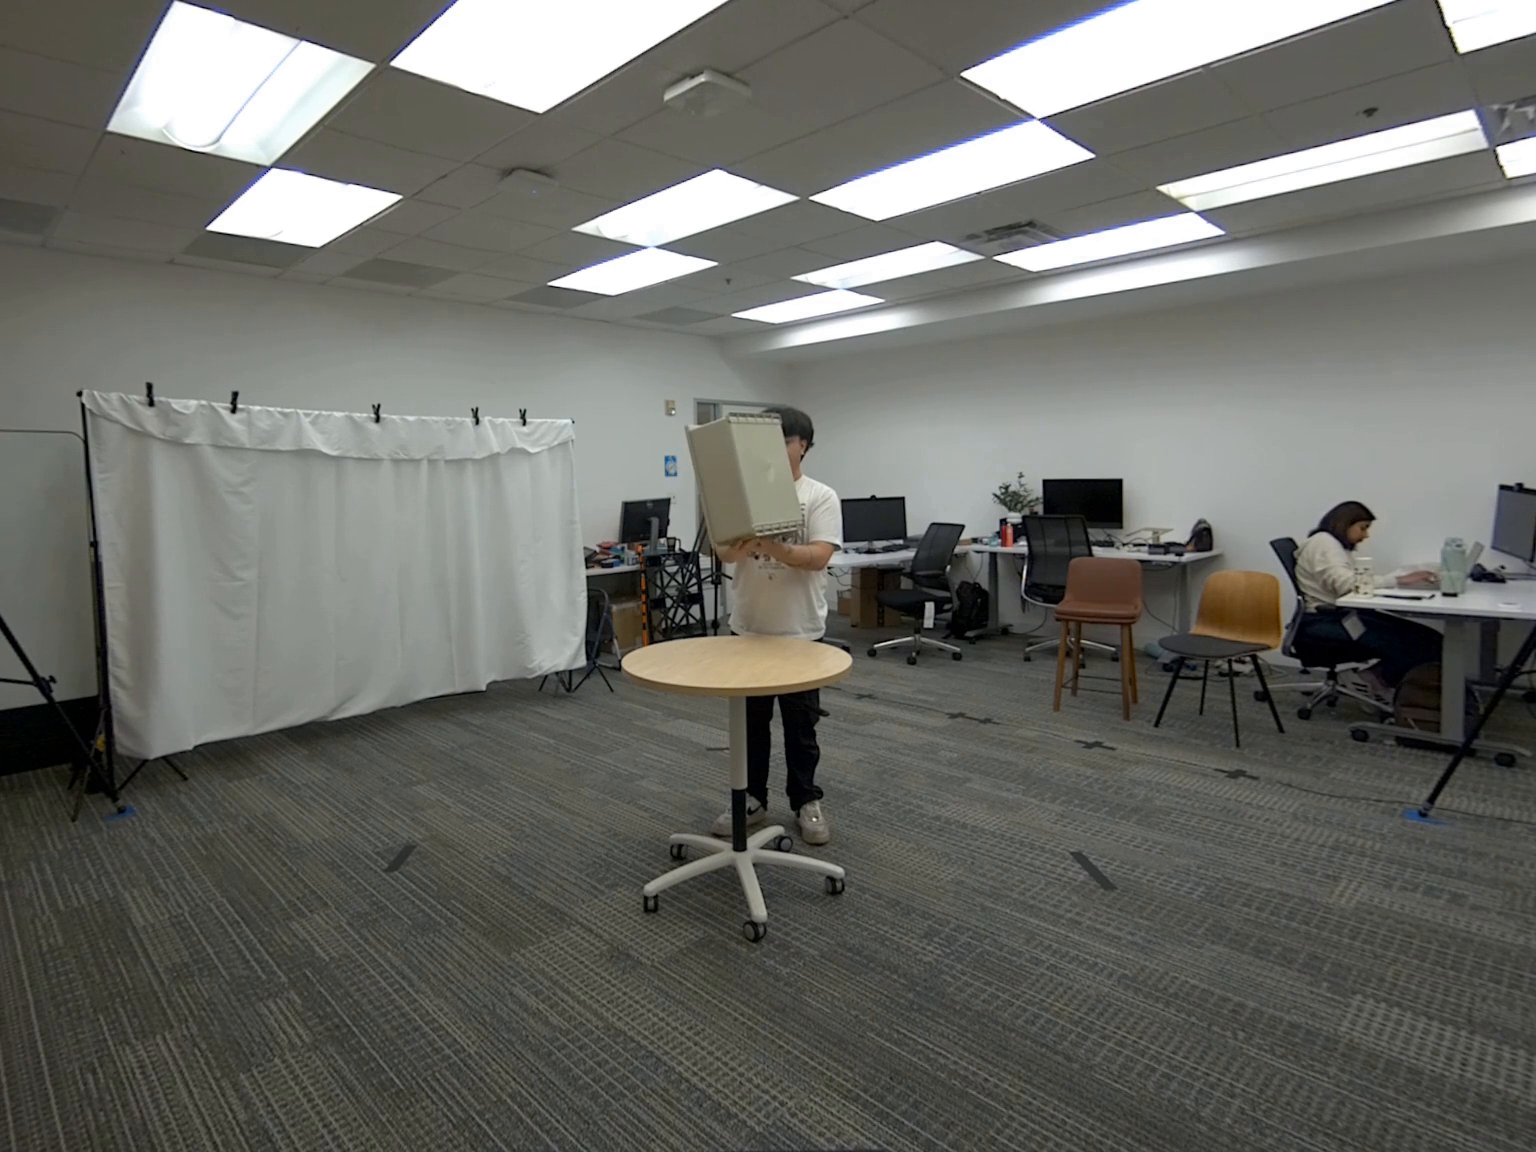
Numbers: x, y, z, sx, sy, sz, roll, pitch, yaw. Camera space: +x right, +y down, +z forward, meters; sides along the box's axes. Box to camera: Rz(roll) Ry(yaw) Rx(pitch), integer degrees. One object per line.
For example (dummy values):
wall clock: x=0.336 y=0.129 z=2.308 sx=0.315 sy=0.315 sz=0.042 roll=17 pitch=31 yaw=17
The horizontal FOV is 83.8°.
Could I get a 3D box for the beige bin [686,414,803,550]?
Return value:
beige bin: x=-0.054 y=-0.334 z=2.936 sx=0.193 sy=0.424 sz=0.369 roll=-14 pitch=-2 yaw=35
